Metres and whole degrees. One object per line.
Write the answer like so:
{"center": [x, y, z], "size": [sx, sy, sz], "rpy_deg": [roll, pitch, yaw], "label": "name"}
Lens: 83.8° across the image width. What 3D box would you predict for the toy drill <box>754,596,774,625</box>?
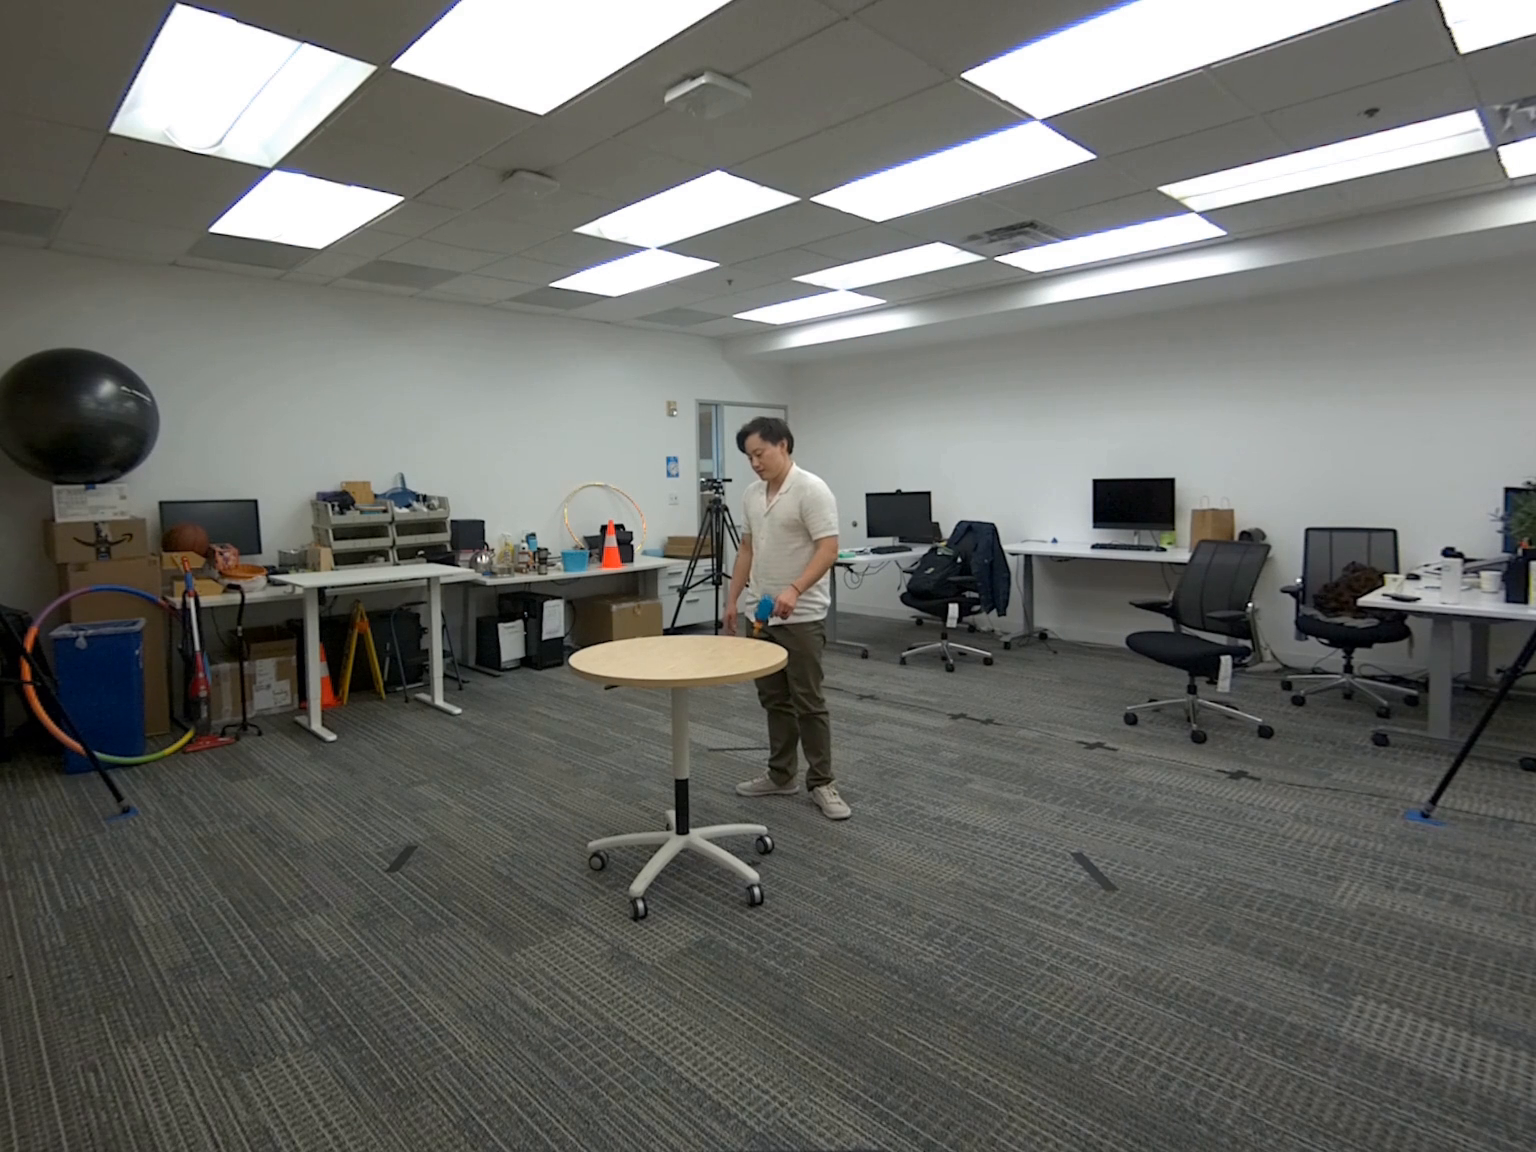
{"center": [-0.001, 0.158, 3.377], "size": [0.143, 0.169, 0.063], "rpy_deg": [13, 6, -20], "label": "toy drill"}
